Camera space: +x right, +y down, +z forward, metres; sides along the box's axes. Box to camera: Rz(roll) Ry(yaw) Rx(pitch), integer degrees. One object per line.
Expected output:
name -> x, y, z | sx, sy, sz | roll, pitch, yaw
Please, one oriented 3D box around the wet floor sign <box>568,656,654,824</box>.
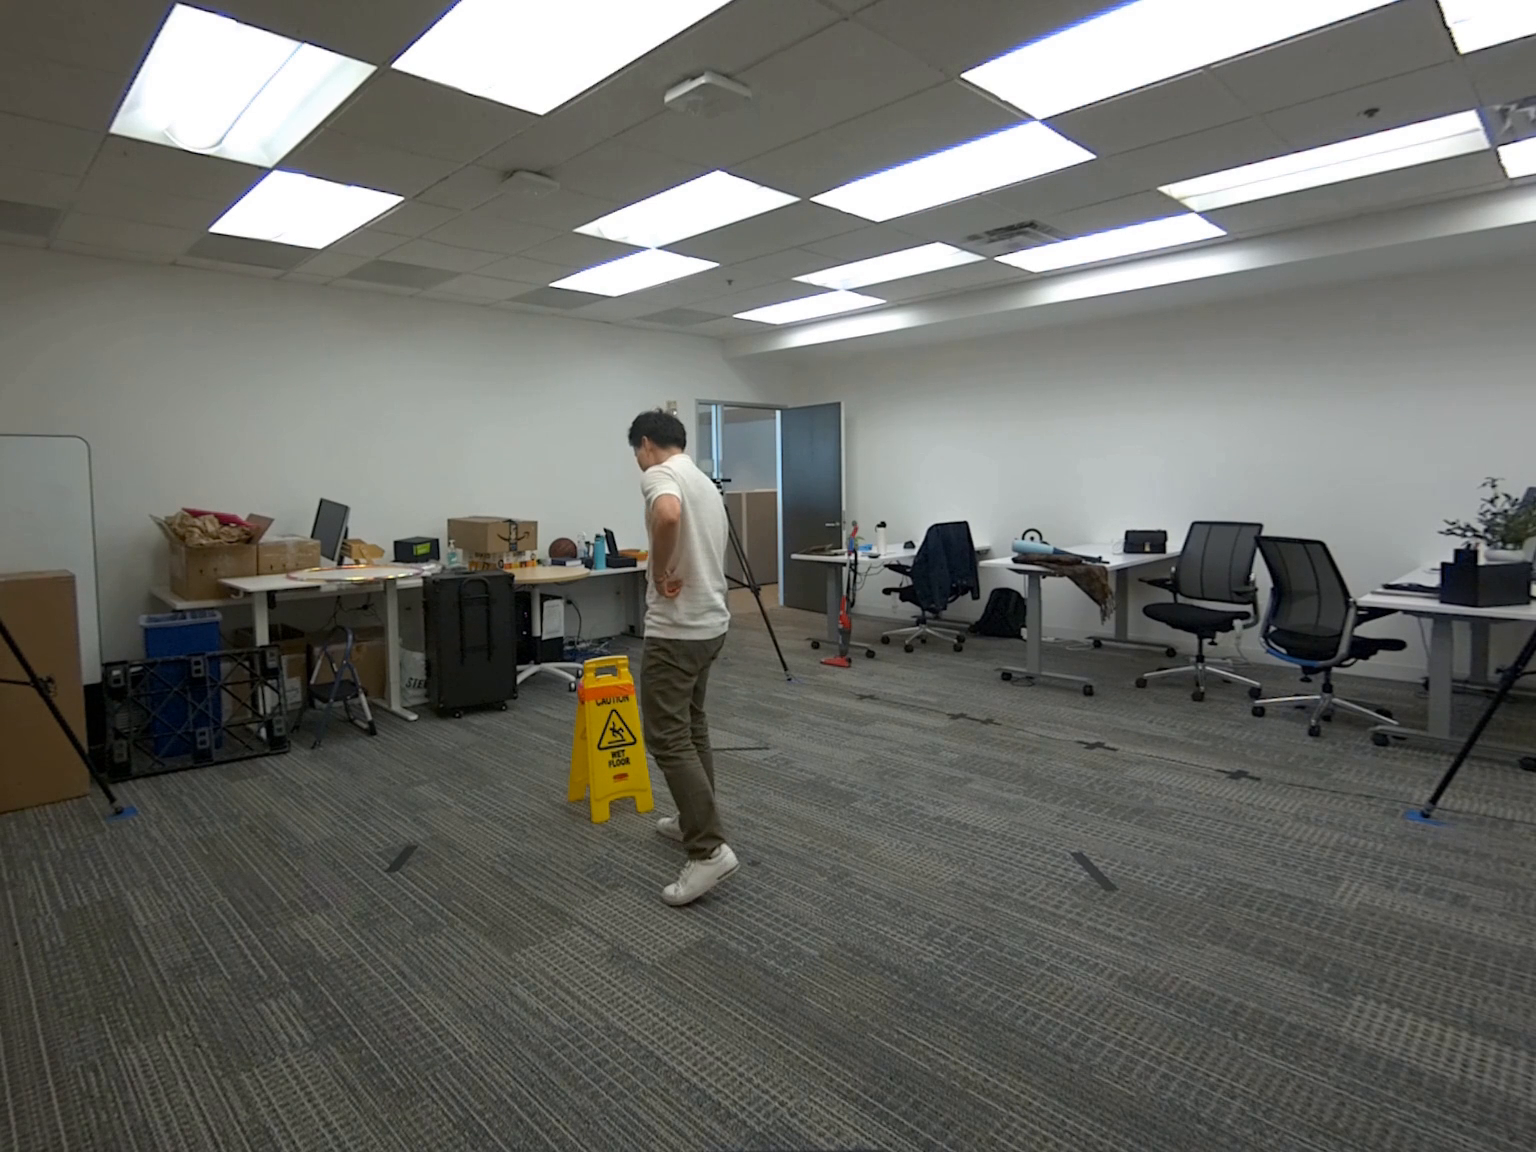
wet floor sign -> -0.687, 0.672, 3.677 | 0.275, 0.644, 0.298 | -4, 4, -32
